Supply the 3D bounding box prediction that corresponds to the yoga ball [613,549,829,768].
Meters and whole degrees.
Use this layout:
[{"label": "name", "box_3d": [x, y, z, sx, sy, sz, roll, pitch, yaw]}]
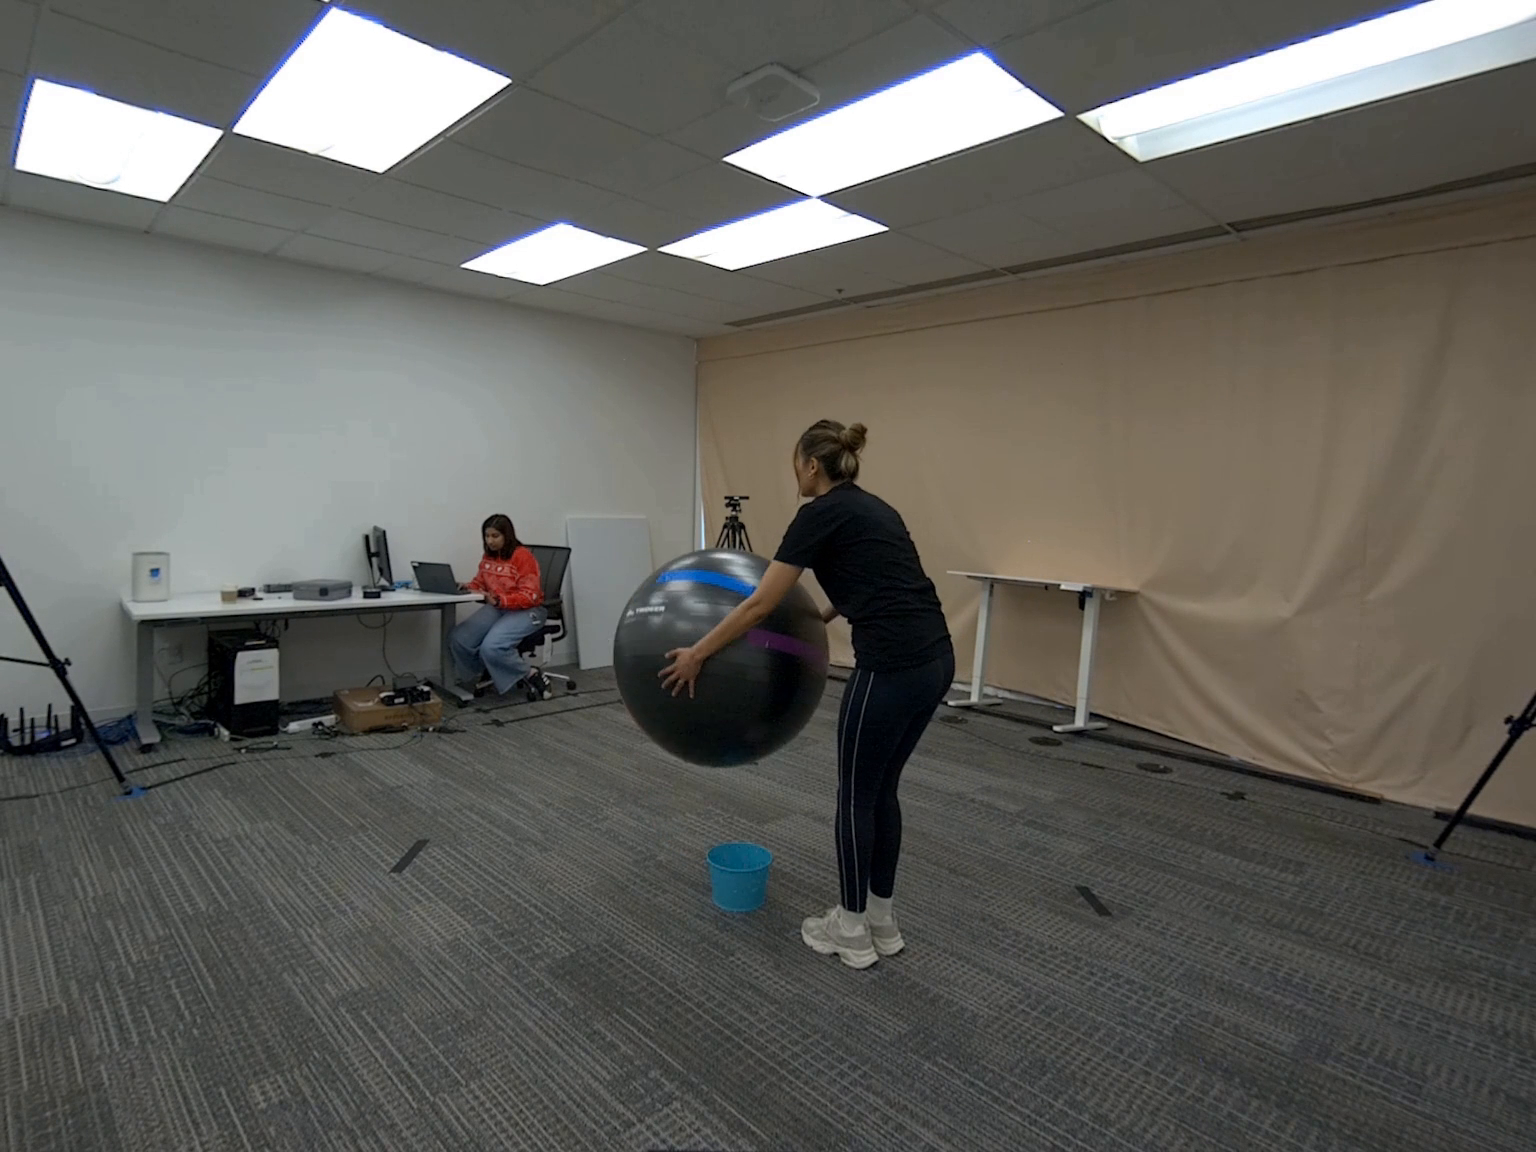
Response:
[{"label": "yoga ball", "box_3d": [-0.168, 0.283, 2.969, 0.757, 0.756, 0.761, 1, 4, -1]}]
